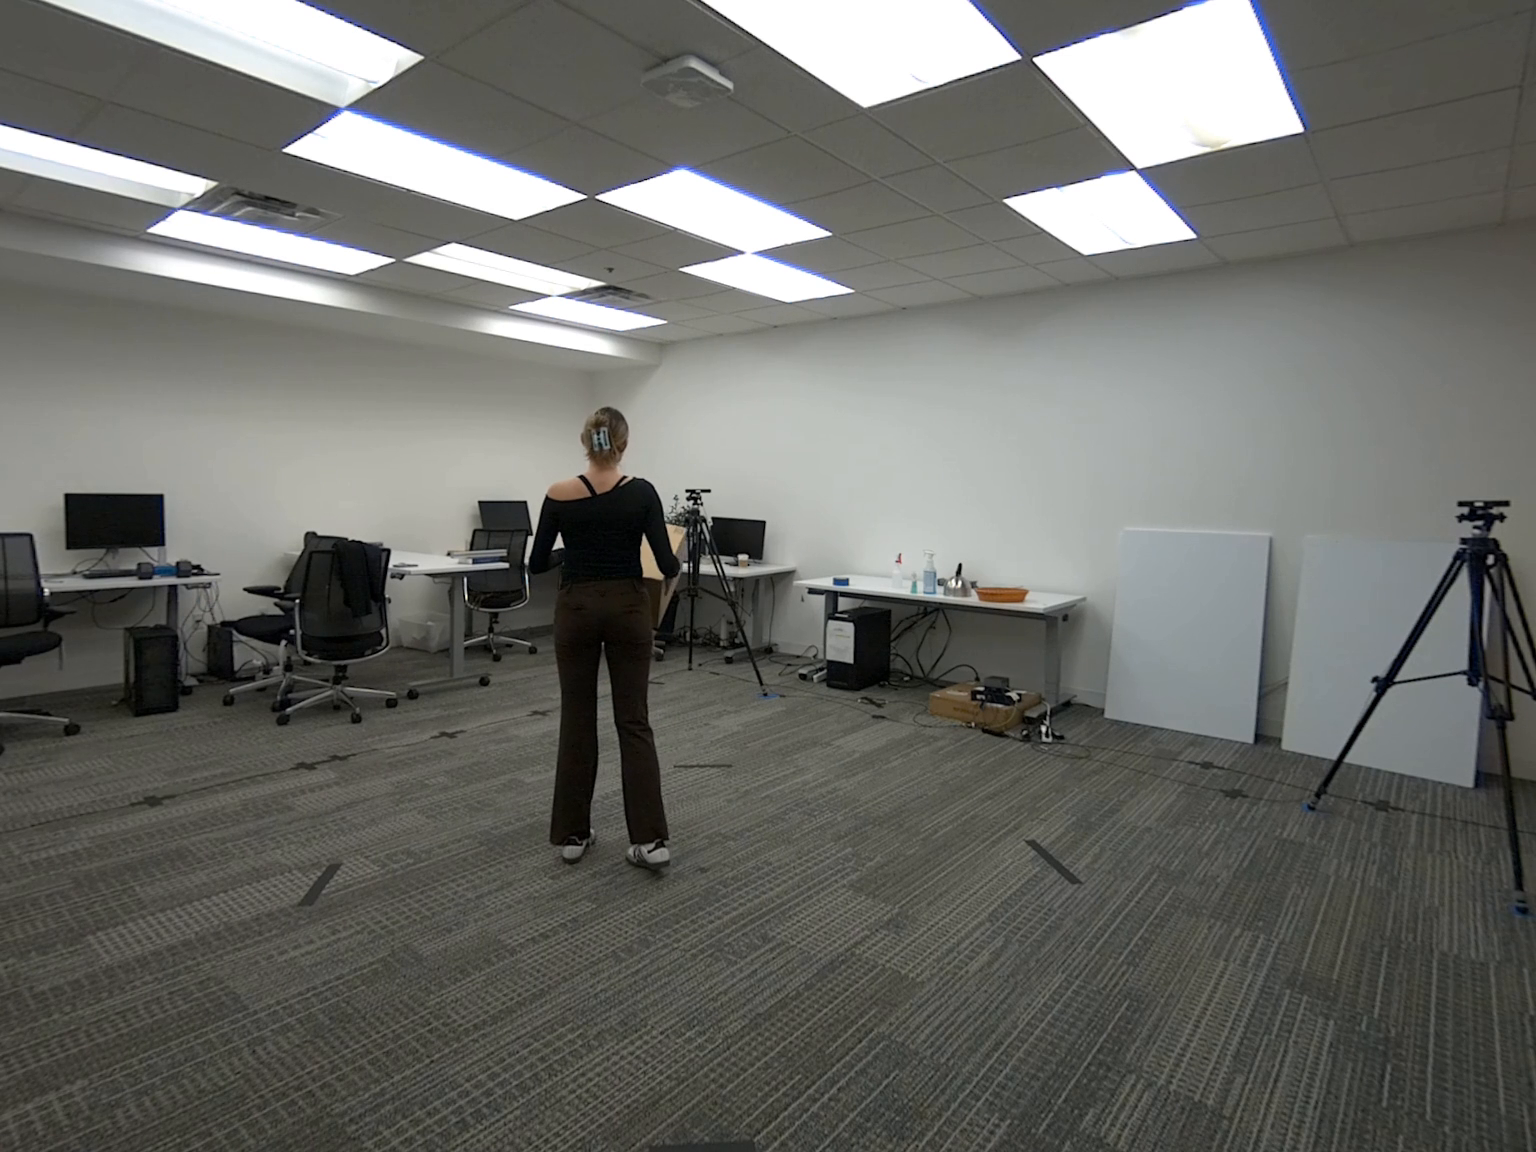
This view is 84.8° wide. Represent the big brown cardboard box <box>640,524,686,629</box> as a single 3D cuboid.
[{"bbox_3d":[-0.615,-0.040,3.625,0.419,0.229,0.598,8,25,1],"label":"big brown cardboard box"}]
